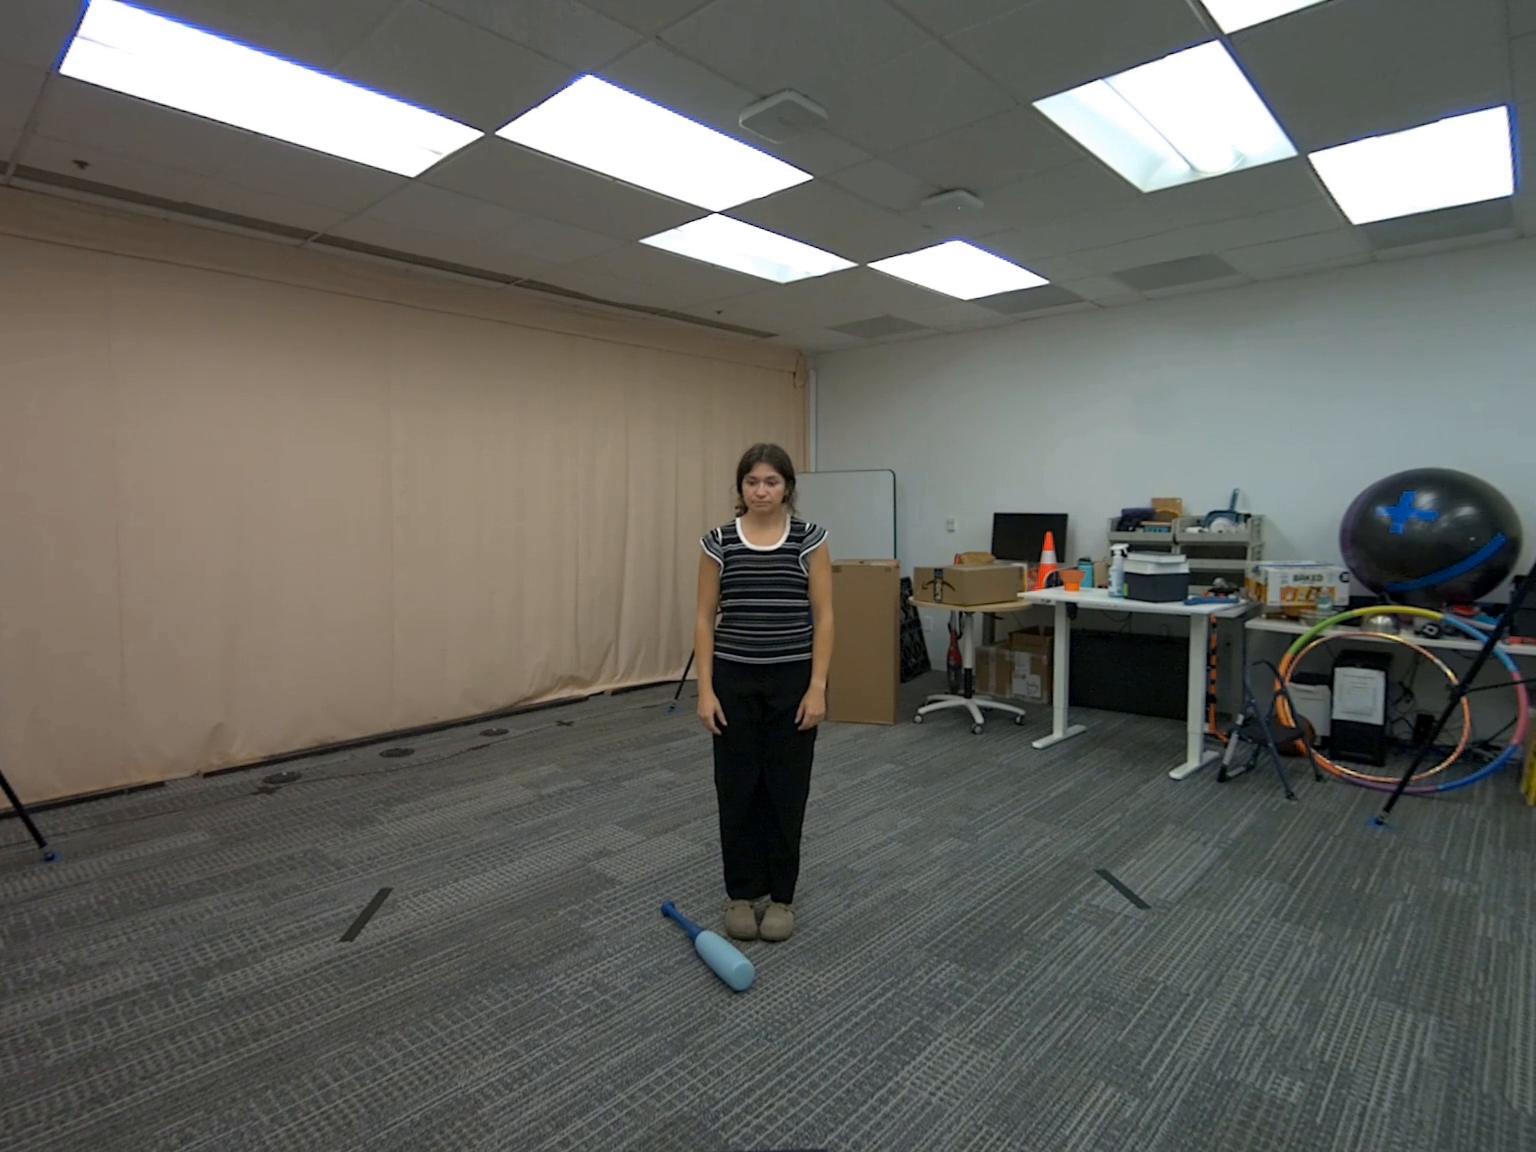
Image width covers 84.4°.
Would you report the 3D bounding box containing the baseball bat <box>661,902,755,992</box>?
[{"bbox_3d":[-0.207,1.140,2.627,0.087,0.089,0.558,-2,2,-30],"label":"baseball bat"}]
